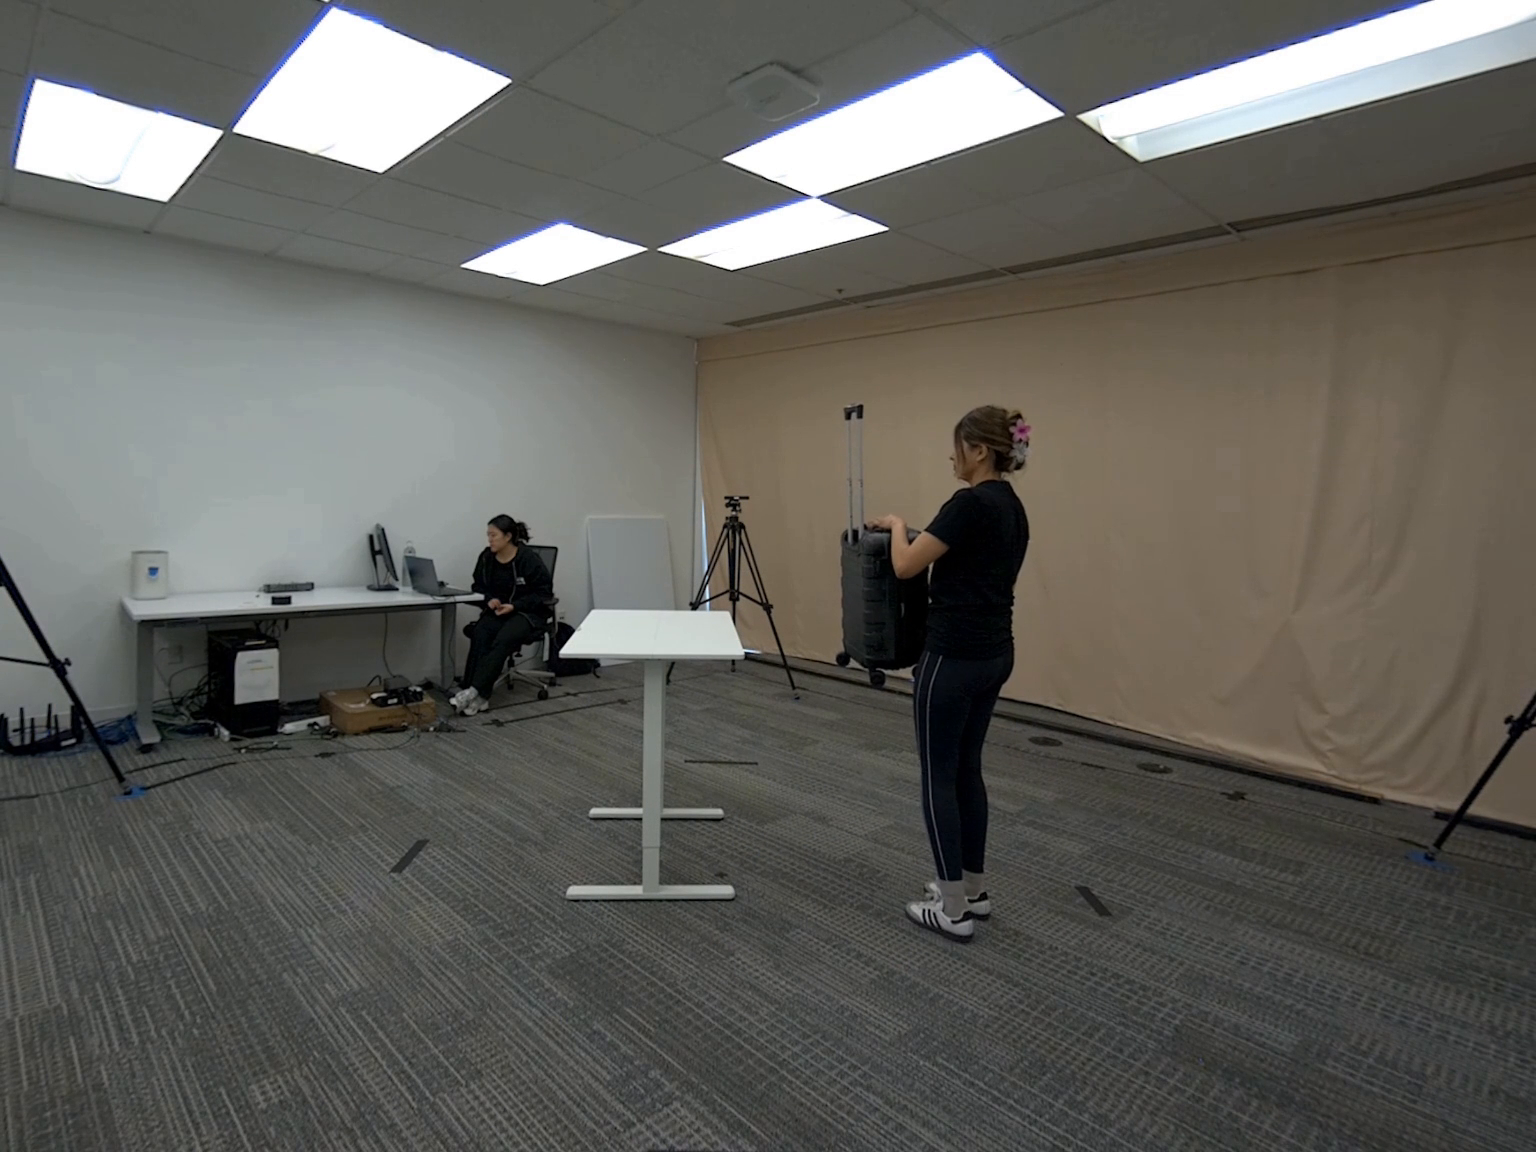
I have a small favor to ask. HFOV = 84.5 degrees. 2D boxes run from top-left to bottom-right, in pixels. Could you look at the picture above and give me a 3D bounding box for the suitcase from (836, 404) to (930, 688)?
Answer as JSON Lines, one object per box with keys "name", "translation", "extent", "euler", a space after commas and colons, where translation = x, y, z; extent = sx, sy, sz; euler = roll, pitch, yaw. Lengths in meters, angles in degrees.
{"name": "suitcase", "translation": [0.417, -0.127, 3.059], "extent": [0.256, 0.973, 0.388], "euler": [-1, 7, -7]}
